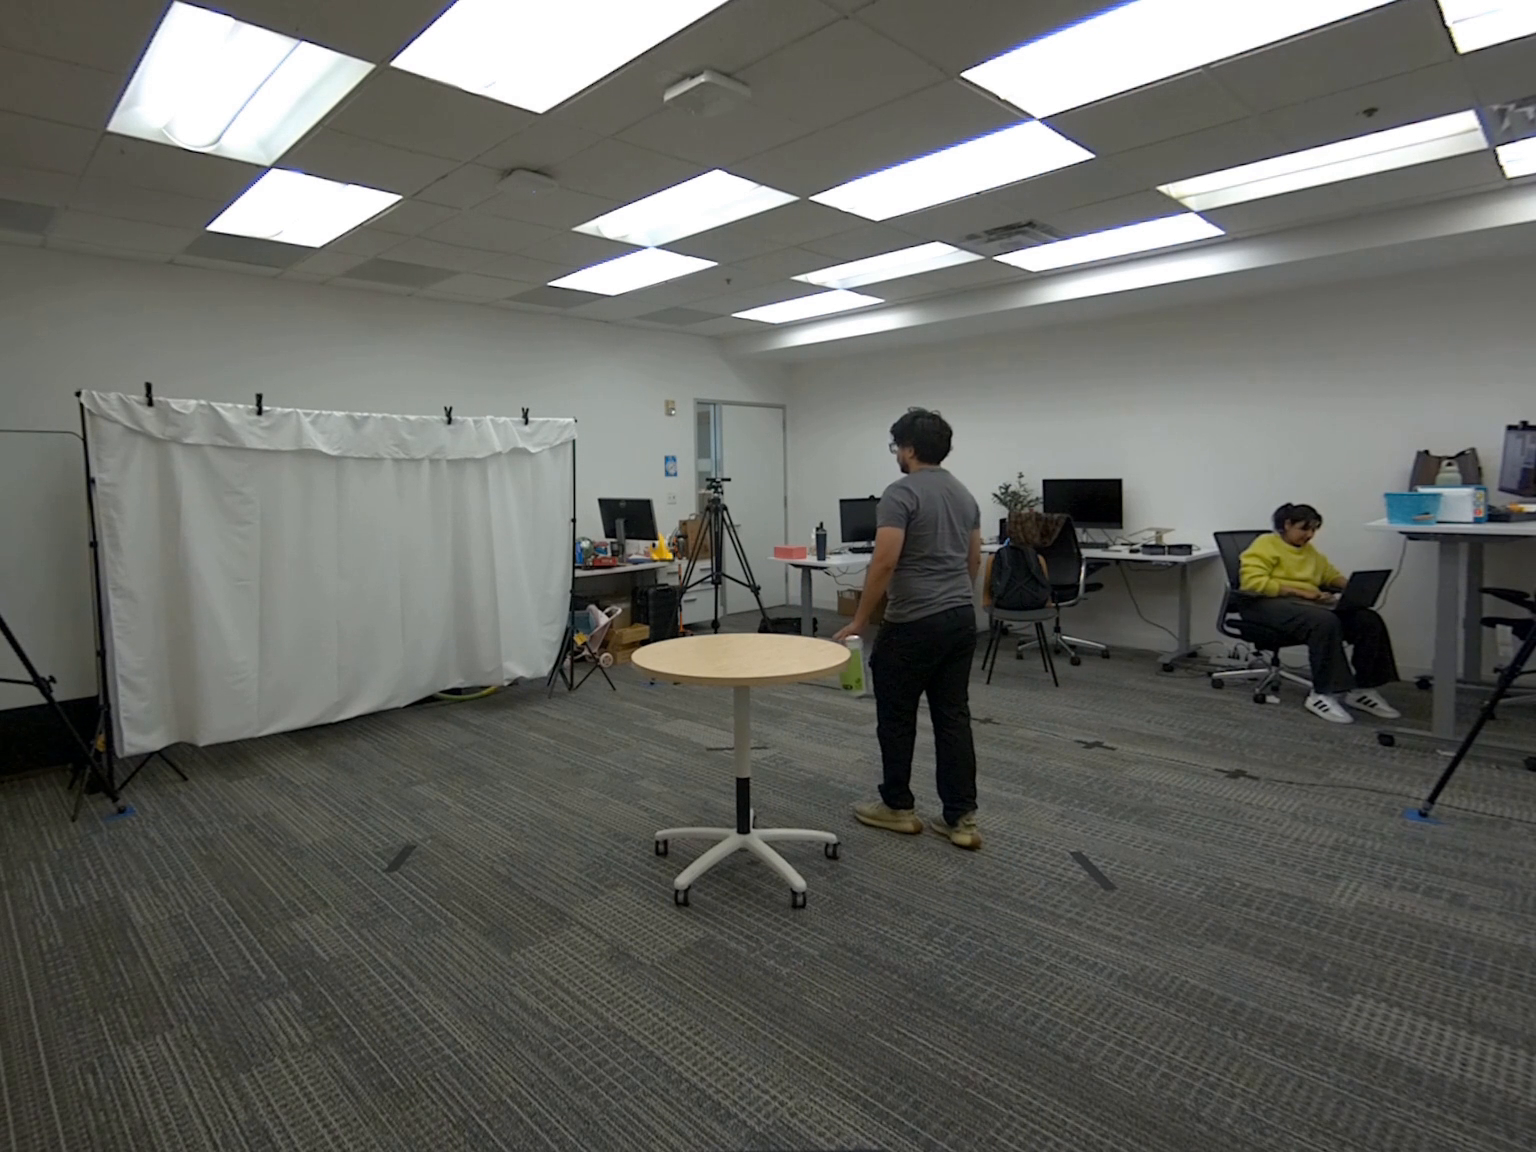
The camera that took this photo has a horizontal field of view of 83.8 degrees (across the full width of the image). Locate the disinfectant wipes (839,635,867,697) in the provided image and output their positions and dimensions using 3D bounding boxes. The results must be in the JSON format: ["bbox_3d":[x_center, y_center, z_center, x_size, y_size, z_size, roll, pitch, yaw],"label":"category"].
[{"bbox_3d":[0.319,0.344,3.328,0.118,0.216,0.119,-7,8,-1],"label":"disinfectant wipes"}]
